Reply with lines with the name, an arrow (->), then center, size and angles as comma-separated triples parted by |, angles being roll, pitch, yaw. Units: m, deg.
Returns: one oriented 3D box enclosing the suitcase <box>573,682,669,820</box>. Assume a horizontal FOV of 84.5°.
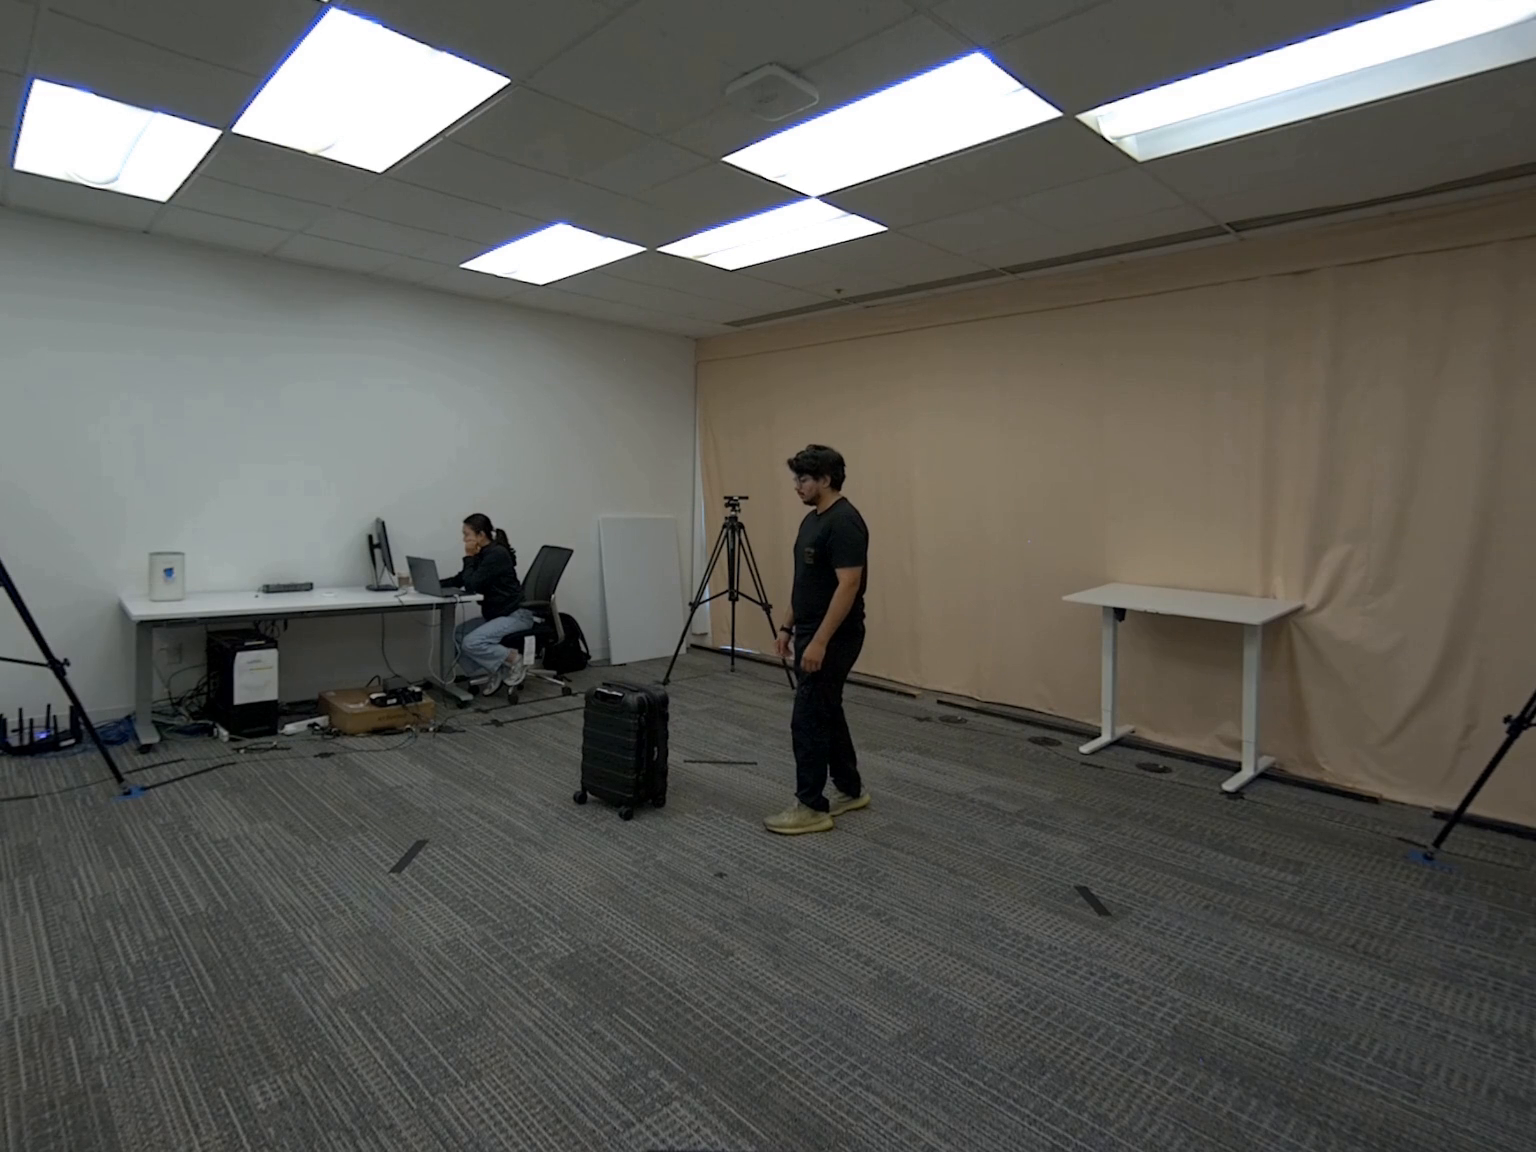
suitcase -> -0.650, 0.757, 3.794 | 0.384, 0.548, 0.242 | 6, 3, 34
